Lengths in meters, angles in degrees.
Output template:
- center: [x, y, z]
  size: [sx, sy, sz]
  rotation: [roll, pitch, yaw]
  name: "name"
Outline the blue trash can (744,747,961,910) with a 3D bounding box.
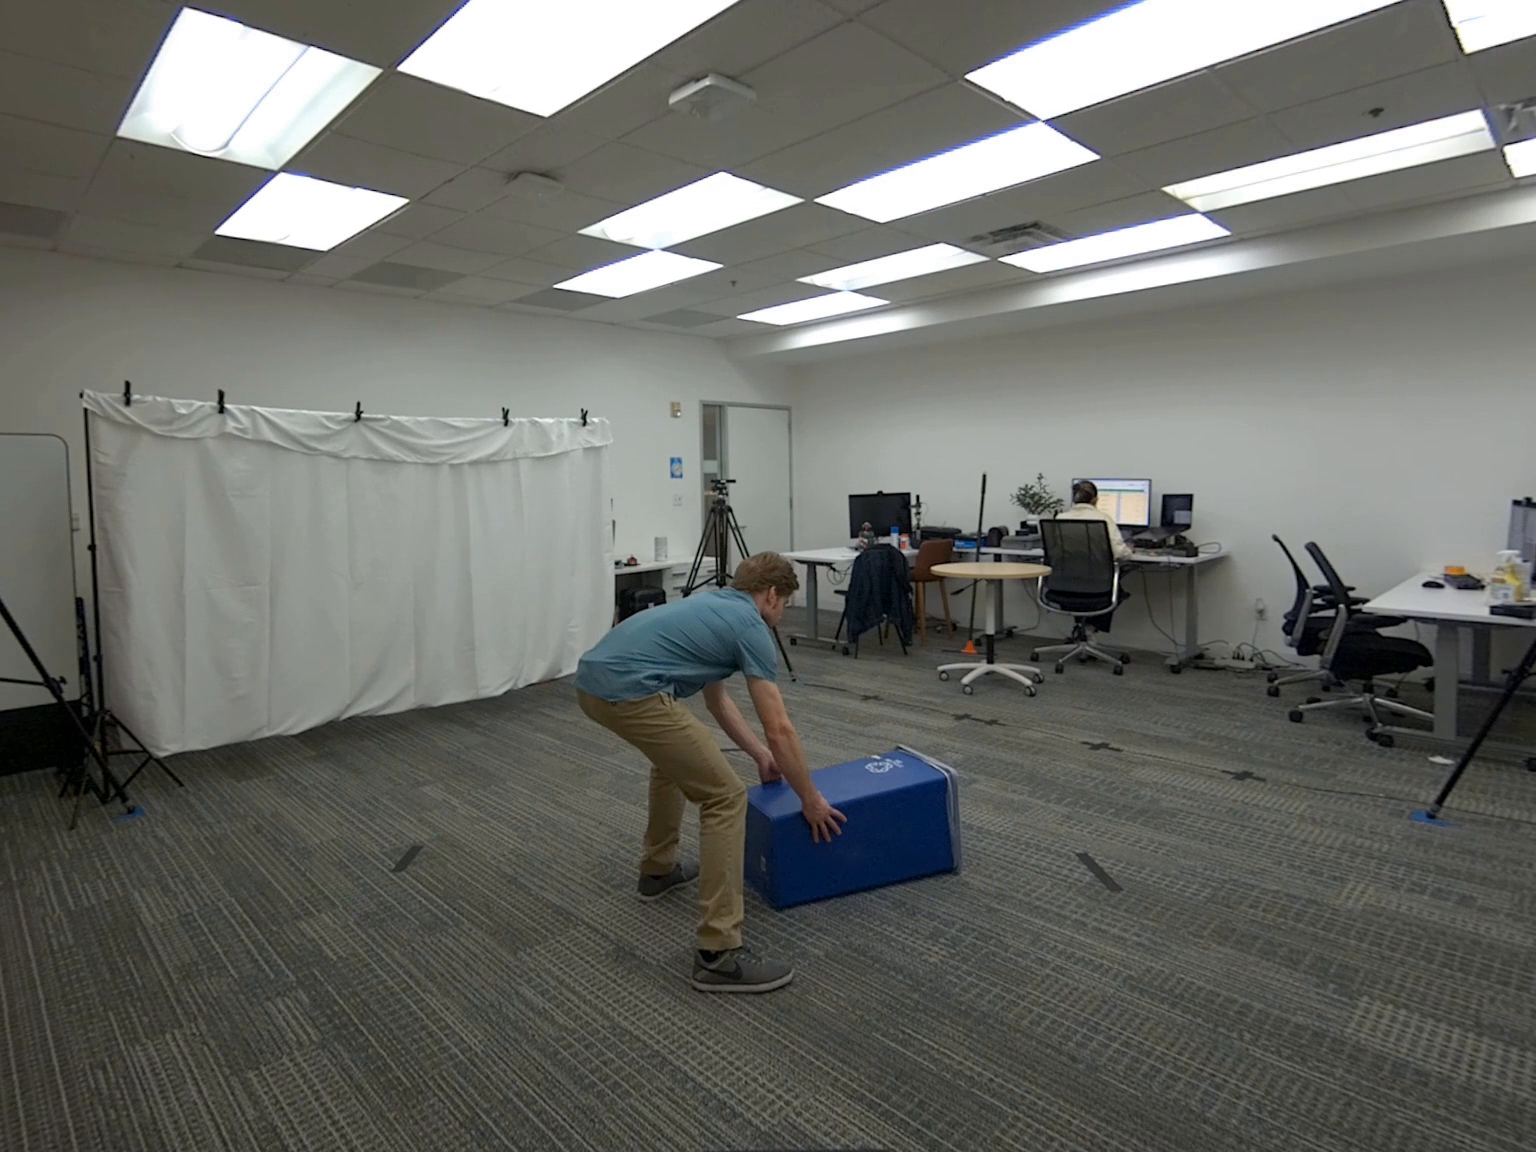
- center: [0.280, 0.884, 3.010]
  size: [0.700, 0.376, 0.383]
  rotation: [-7, 5, -23]
  name: "blue trash can"
